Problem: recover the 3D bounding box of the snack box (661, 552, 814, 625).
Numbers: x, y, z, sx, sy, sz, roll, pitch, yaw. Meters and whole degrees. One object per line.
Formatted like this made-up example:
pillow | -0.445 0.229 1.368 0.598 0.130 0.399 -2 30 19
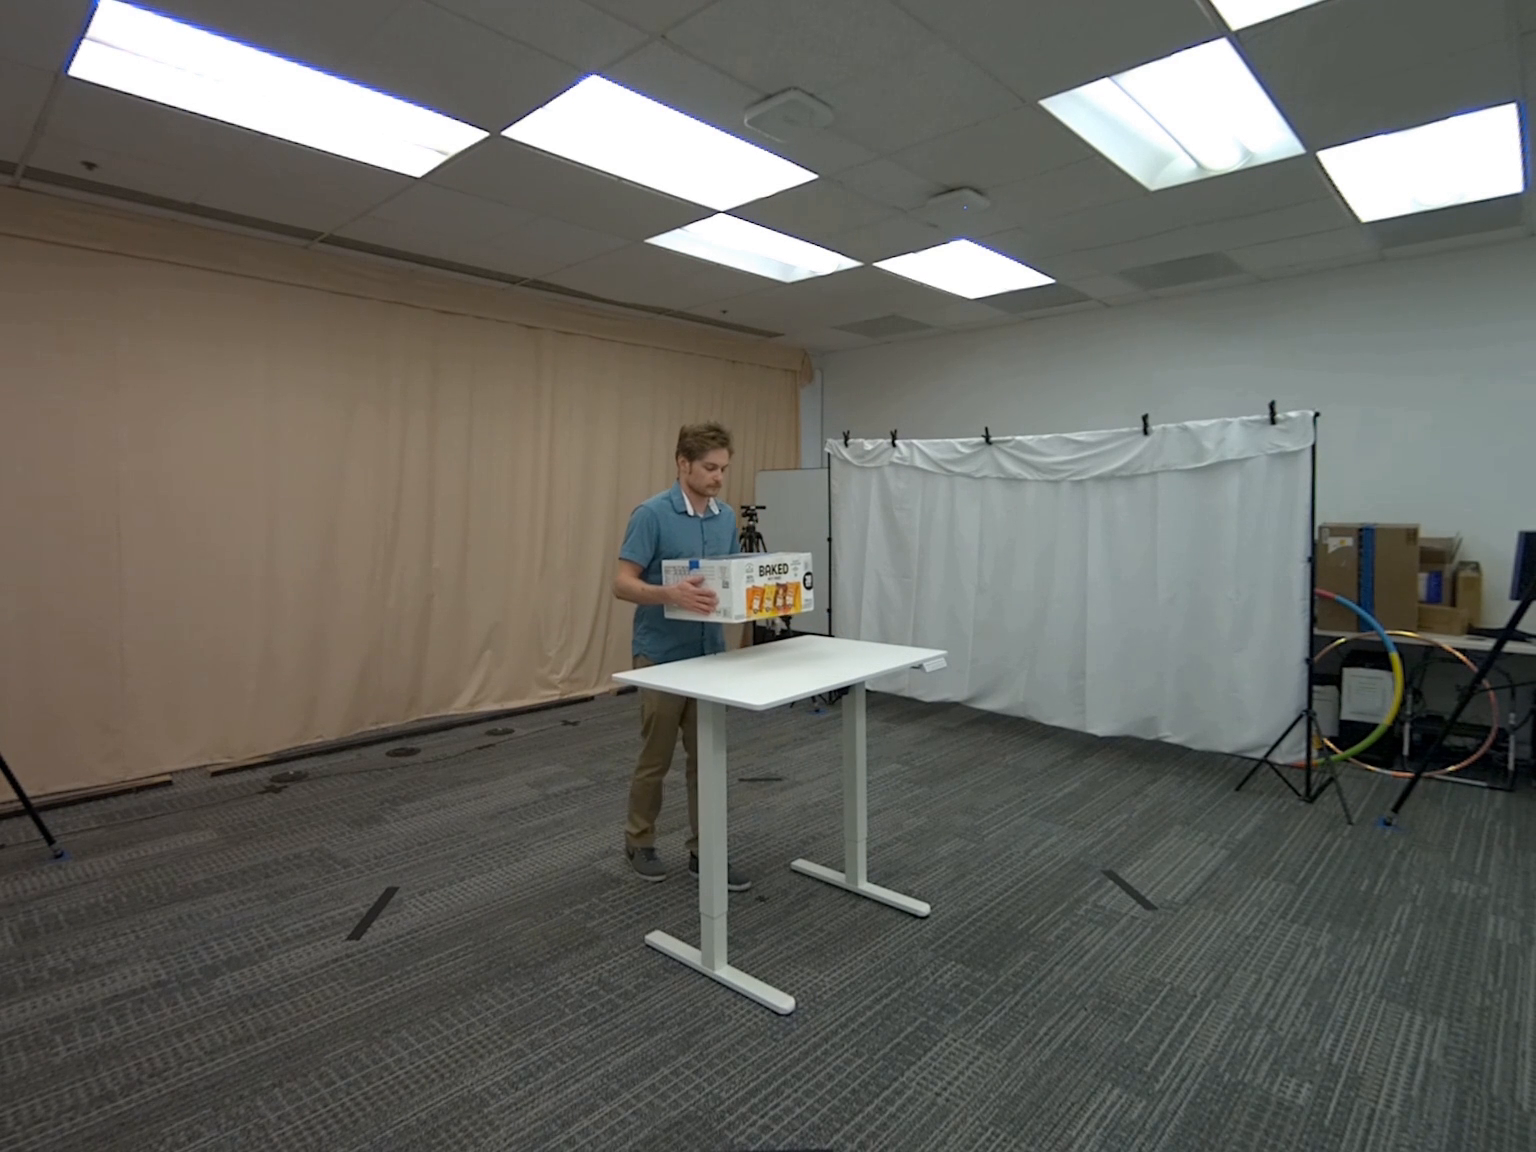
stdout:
snack box | -0.100 0.033 2.920 0.351 0.205 0.393 0 4 44
